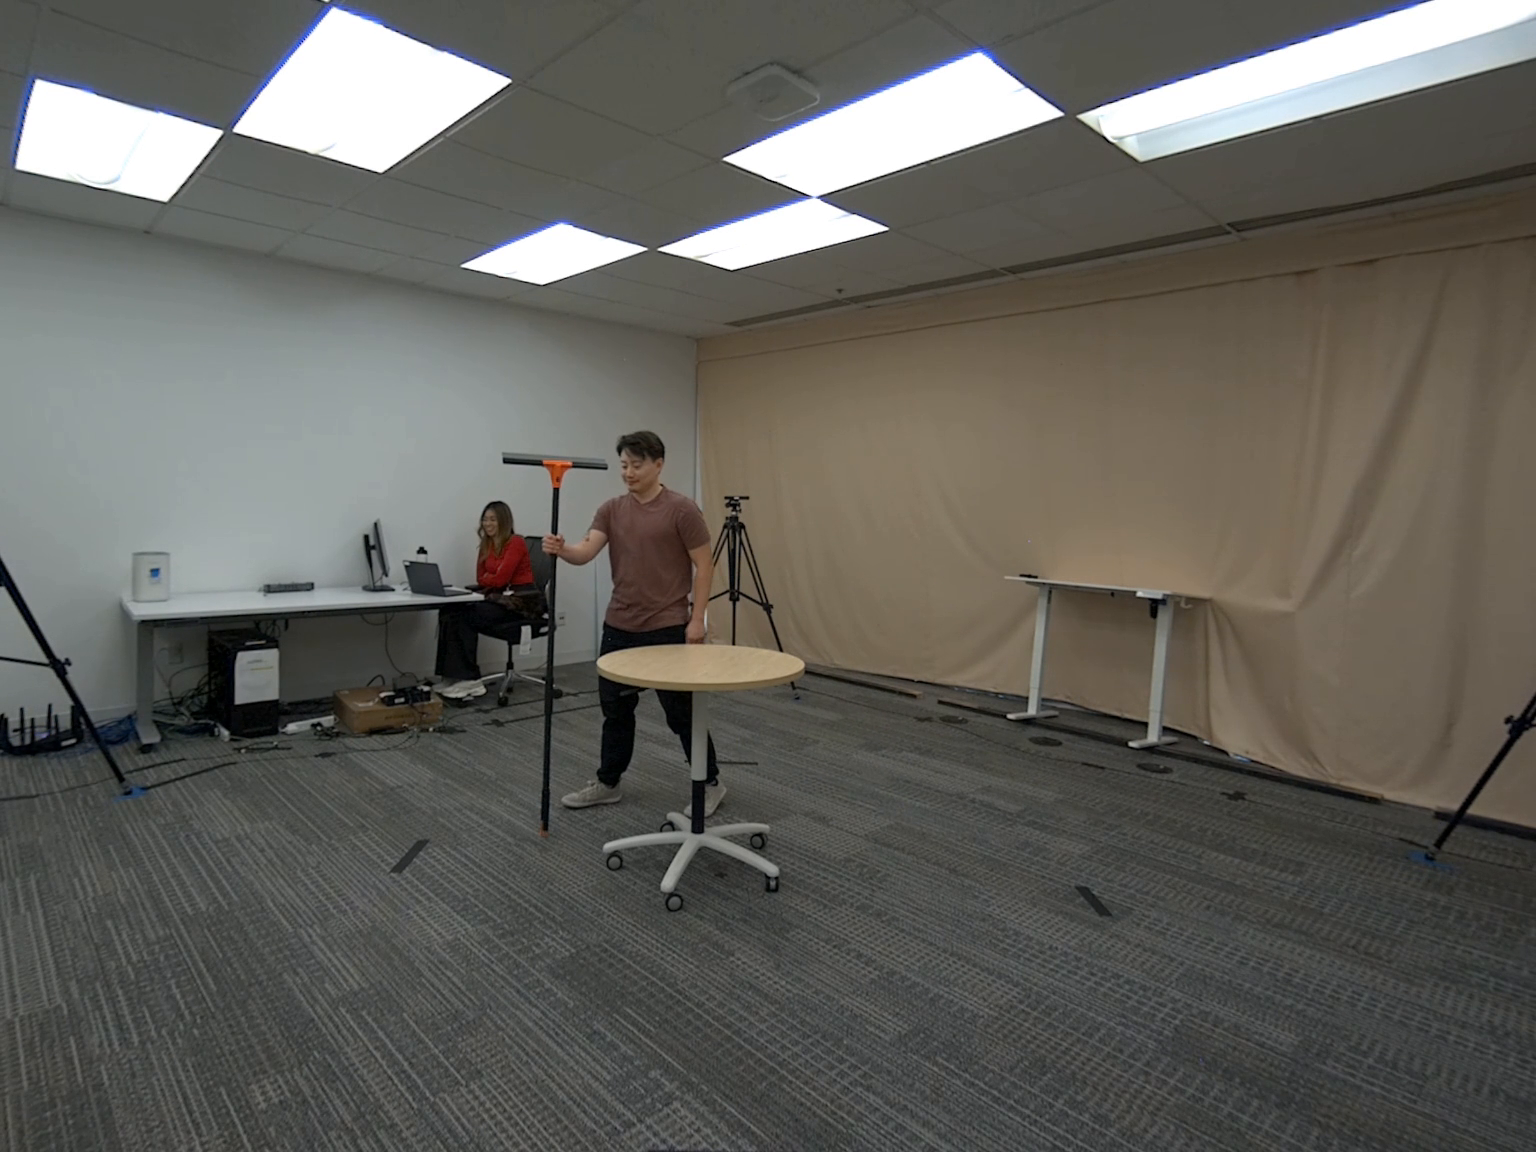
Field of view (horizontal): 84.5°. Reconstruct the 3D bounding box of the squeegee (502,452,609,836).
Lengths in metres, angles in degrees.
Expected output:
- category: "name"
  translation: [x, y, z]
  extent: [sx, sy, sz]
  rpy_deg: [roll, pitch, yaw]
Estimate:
- category: "squeegee"
  translation: [-0.883, 0.289, 3.375]
  extent: [0.428, 1.535, 0.054]
  rpy_deg: [0, 3, -31]
